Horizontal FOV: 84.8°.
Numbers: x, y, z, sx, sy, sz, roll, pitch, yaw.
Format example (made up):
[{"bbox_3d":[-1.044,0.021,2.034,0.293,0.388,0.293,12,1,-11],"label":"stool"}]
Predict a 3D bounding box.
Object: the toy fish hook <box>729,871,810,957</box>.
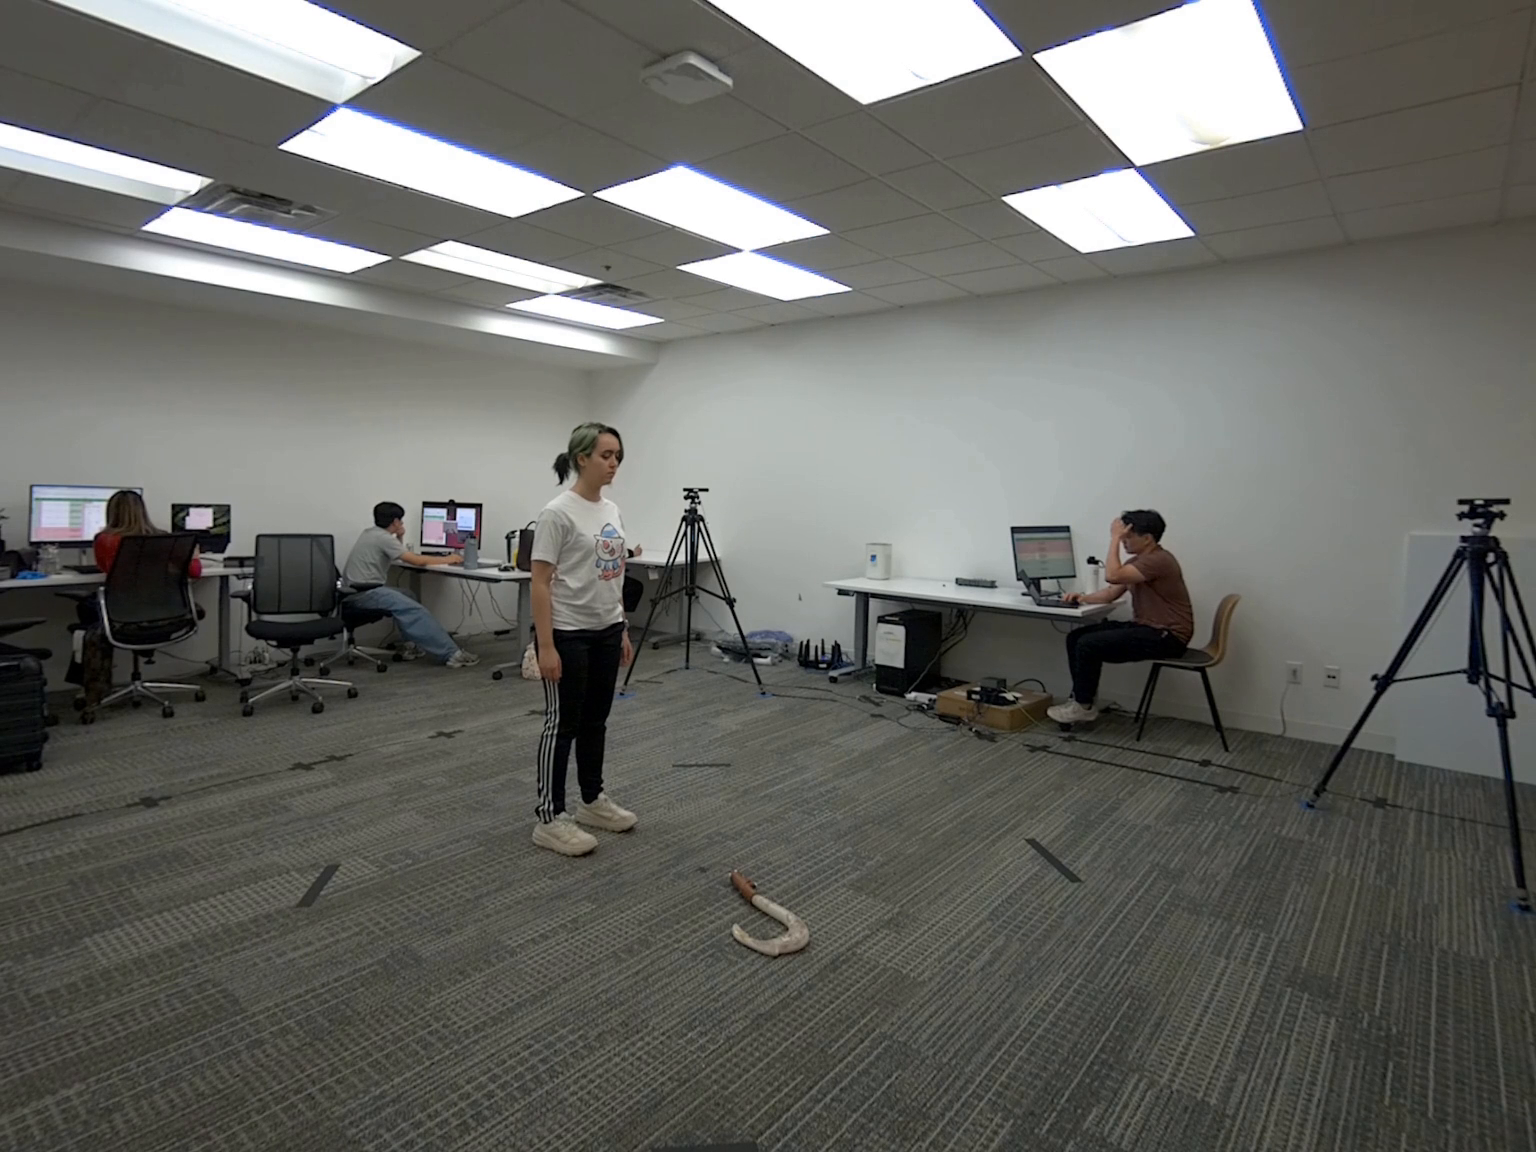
[{"bbox_3d":[-0.063,1.081,2.765,0.219,0.048,0.521,0,5,-27],"label":"toy fish hook"}]
